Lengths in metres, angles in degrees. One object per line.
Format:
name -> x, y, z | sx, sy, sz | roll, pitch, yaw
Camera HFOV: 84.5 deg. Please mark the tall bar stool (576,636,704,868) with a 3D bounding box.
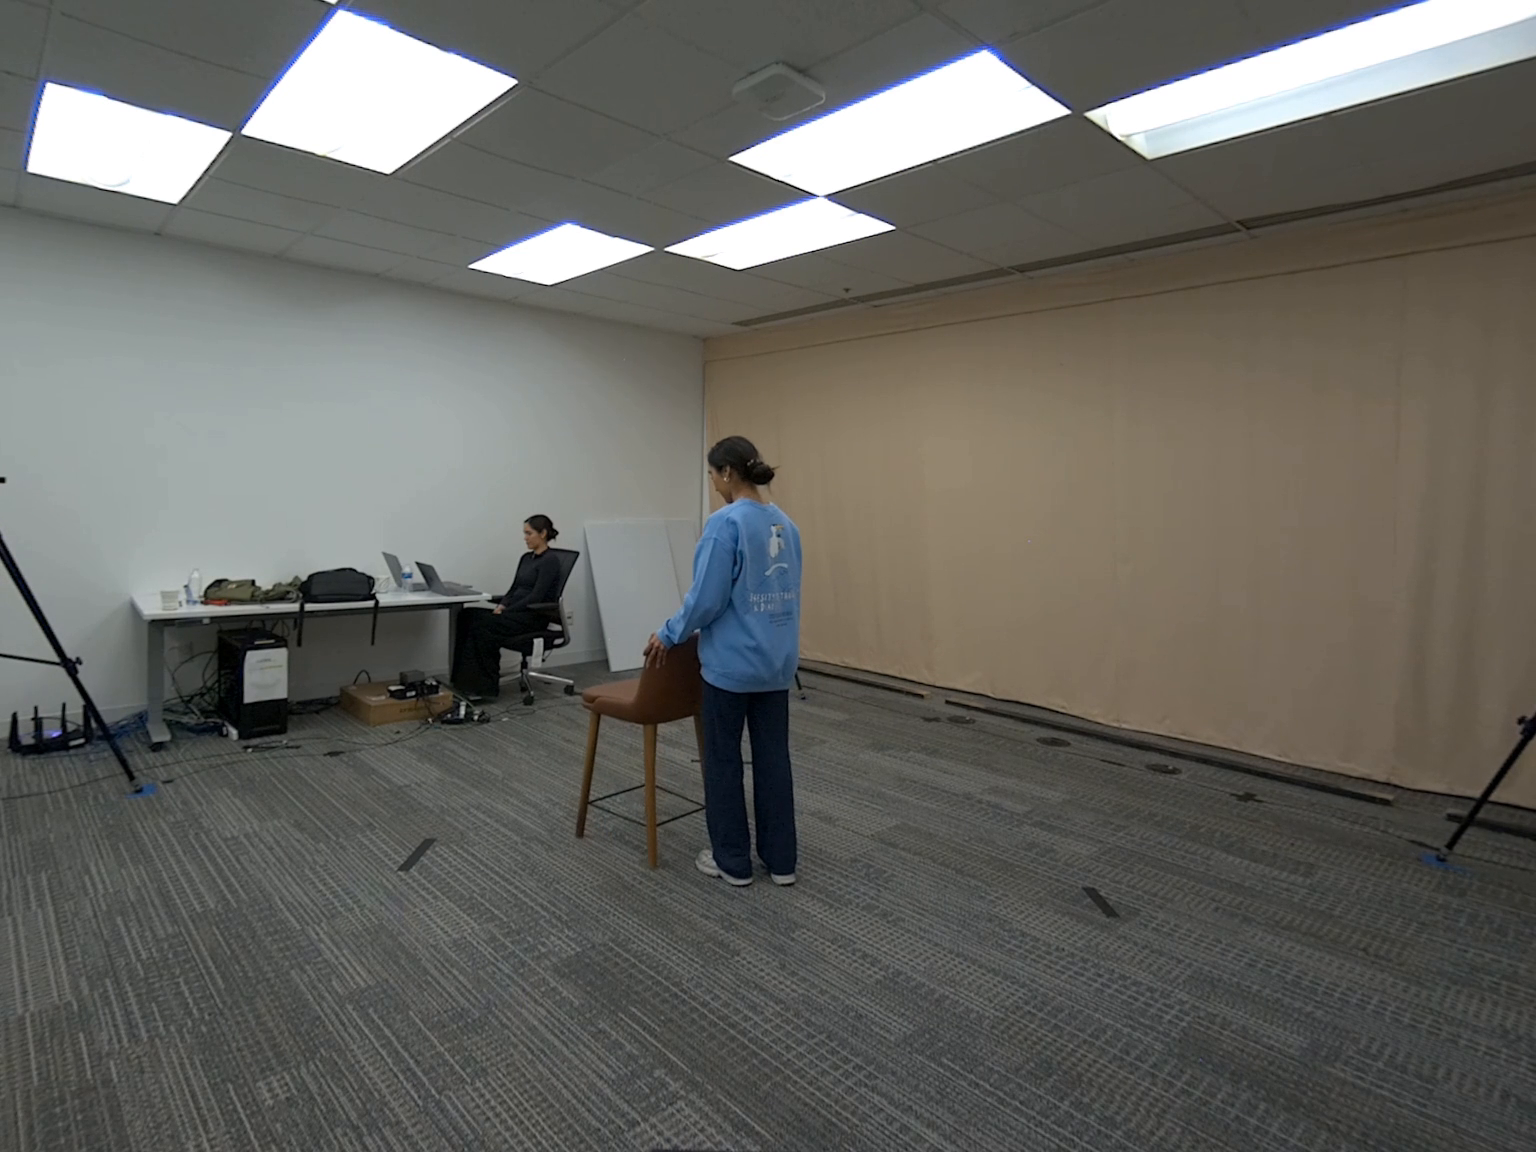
tall bar stool -> -0.469, 0.632, 3.386 | 0.480, 0.886, 0.446 | 8, 7, 41
